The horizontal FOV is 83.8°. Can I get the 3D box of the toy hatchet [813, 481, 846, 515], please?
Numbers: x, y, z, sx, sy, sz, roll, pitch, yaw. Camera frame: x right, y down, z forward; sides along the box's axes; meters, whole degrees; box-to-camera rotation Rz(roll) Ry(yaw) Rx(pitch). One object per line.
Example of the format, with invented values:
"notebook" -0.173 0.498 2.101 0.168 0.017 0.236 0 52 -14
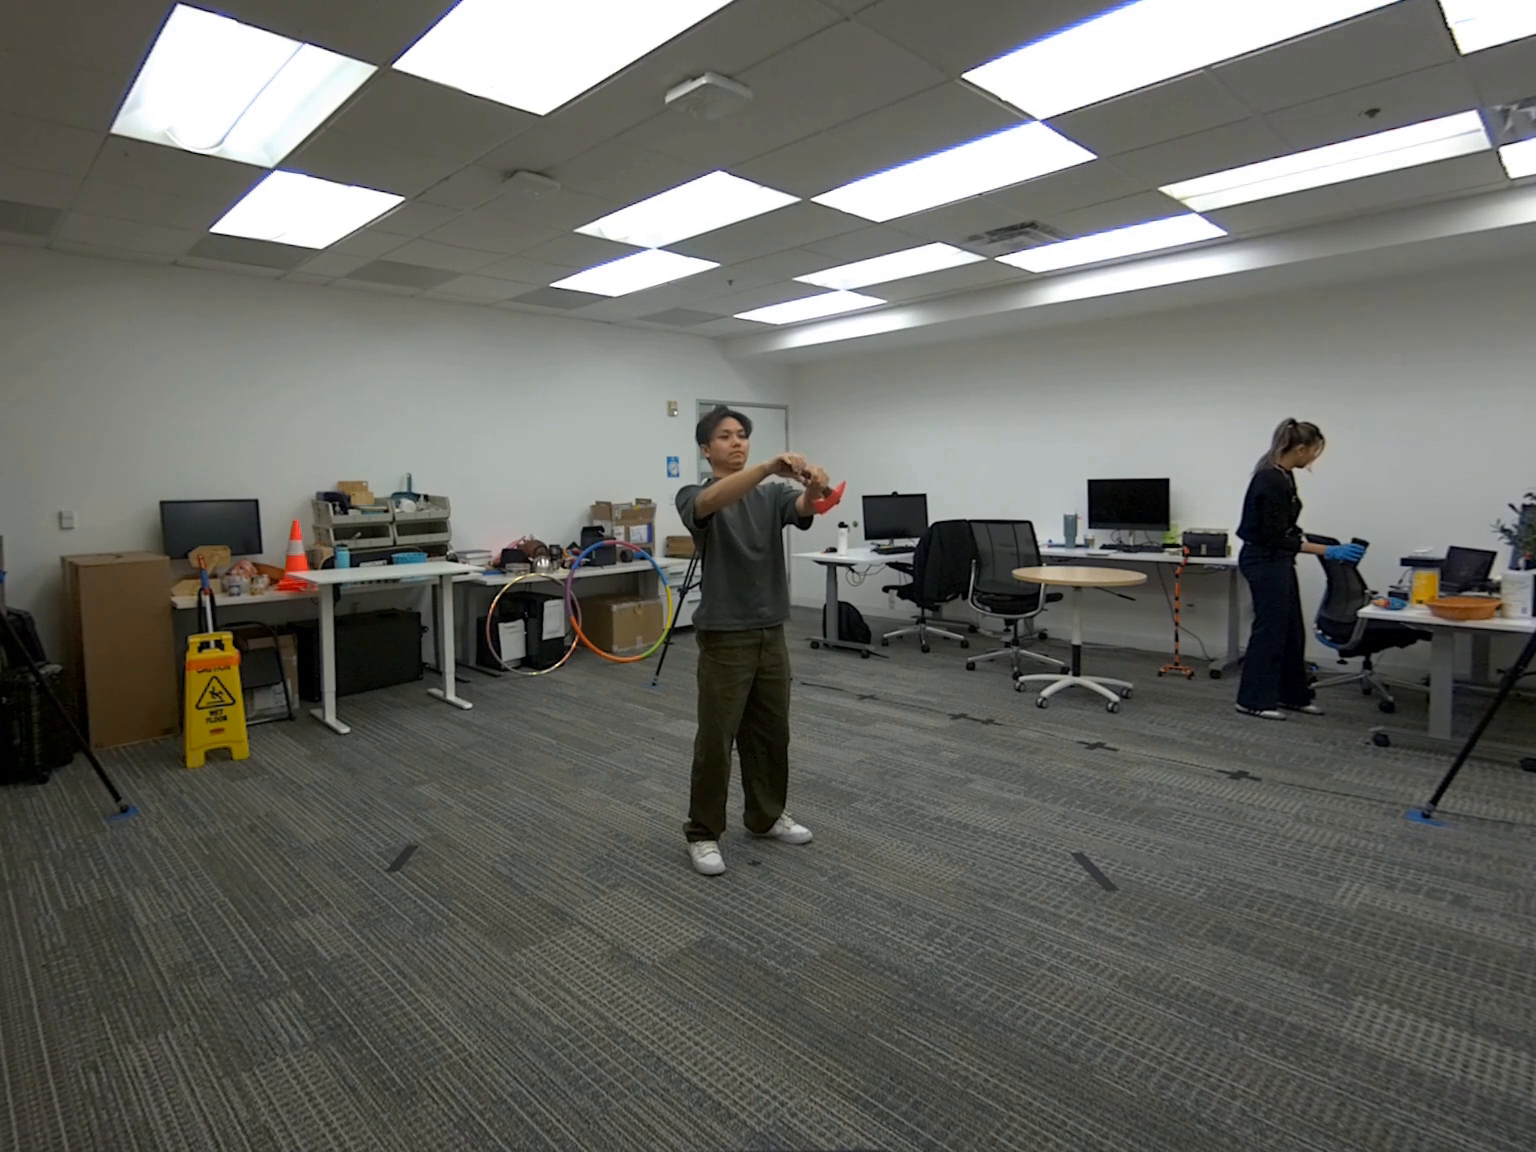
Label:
"toy hatchet" 0.114 -0.275 2.762 0.263 0.130 0.030 14 16 -23
